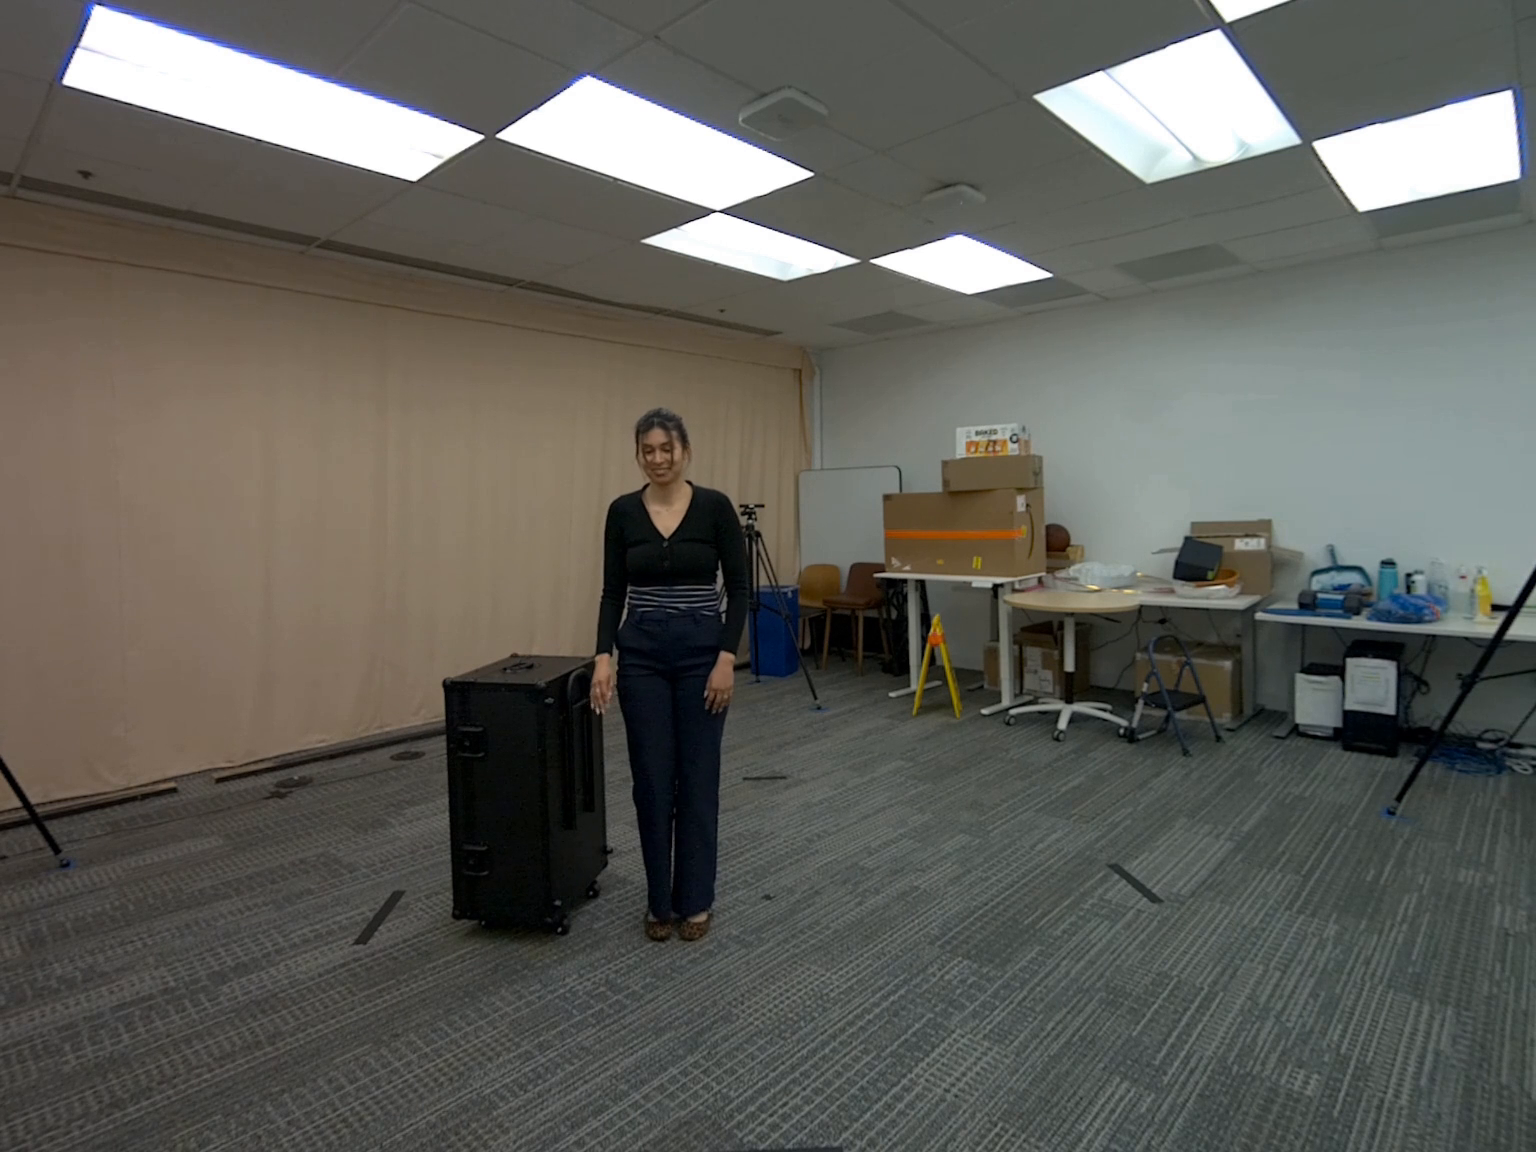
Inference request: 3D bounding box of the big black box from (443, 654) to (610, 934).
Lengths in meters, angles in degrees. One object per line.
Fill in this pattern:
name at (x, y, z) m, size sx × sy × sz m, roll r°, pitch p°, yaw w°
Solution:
big black box at (-0.808, 0.743, 2.916) m, size 0.402 × 0.860 × 0.515 m, roll 1°, pitch 3°, yaw 12°
